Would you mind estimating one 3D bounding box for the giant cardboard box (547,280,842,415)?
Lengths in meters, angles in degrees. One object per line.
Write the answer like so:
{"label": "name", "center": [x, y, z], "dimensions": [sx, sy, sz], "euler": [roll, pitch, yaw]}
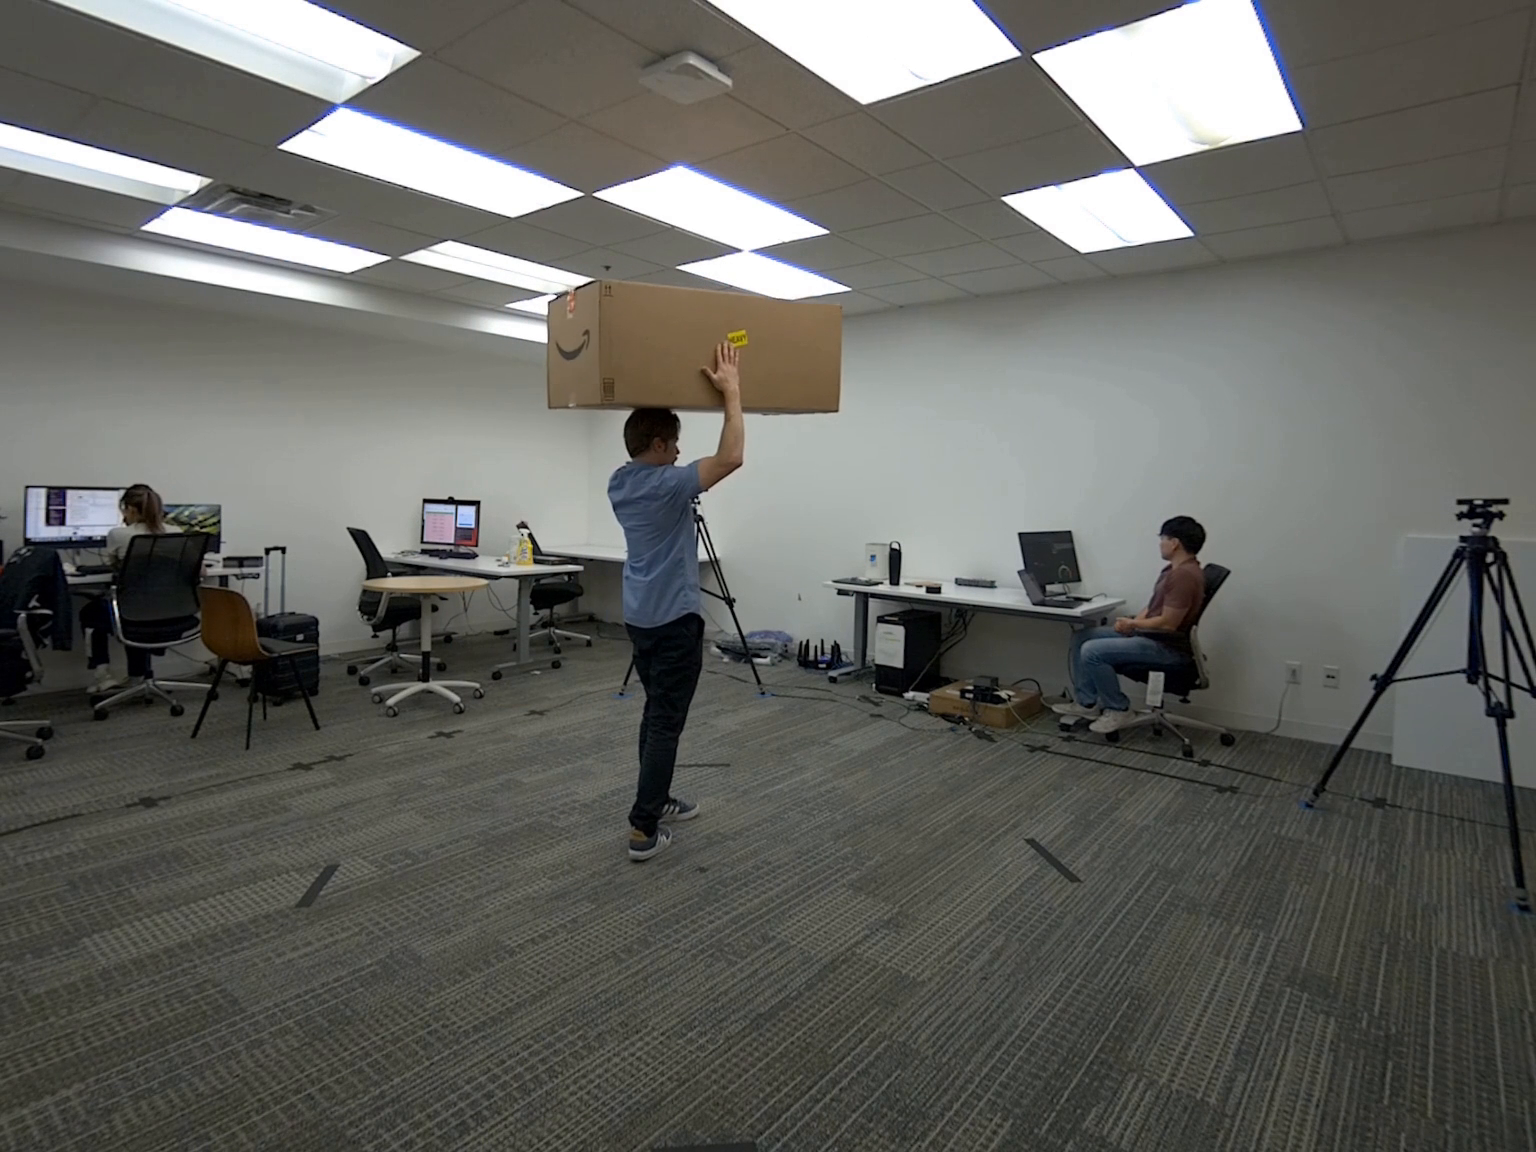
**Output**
{"label": "giant cardboard box", "center": [-0.307, -0.875, 3.372], "dimensions": [1.000, 0.423, 0.597], "euler": [-4, 10, -30]}
